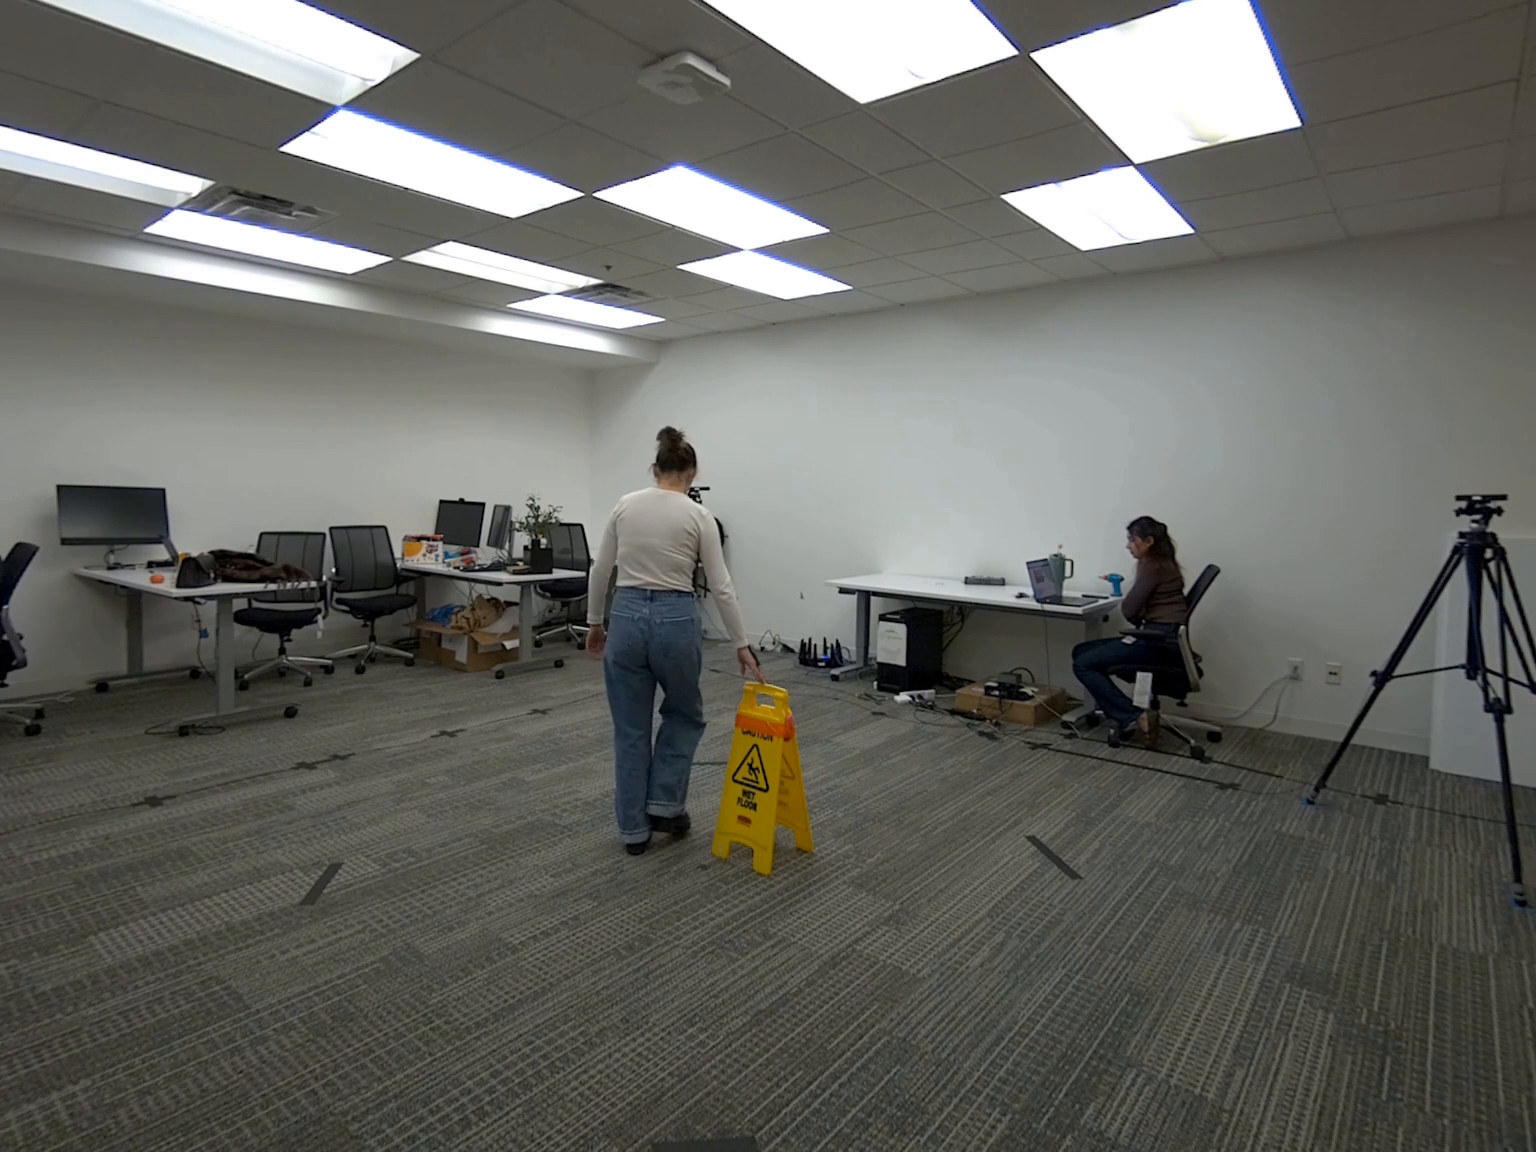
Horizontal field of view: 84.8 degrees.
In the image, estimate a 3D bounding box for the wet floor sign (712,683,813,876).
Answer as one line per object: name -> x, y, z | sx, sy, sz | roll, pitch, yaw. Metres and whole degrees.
wet floor sign -> -0.020, 0.732, 3.235 | 0.292, 0.644, 0.281 | 4, 4, 39
